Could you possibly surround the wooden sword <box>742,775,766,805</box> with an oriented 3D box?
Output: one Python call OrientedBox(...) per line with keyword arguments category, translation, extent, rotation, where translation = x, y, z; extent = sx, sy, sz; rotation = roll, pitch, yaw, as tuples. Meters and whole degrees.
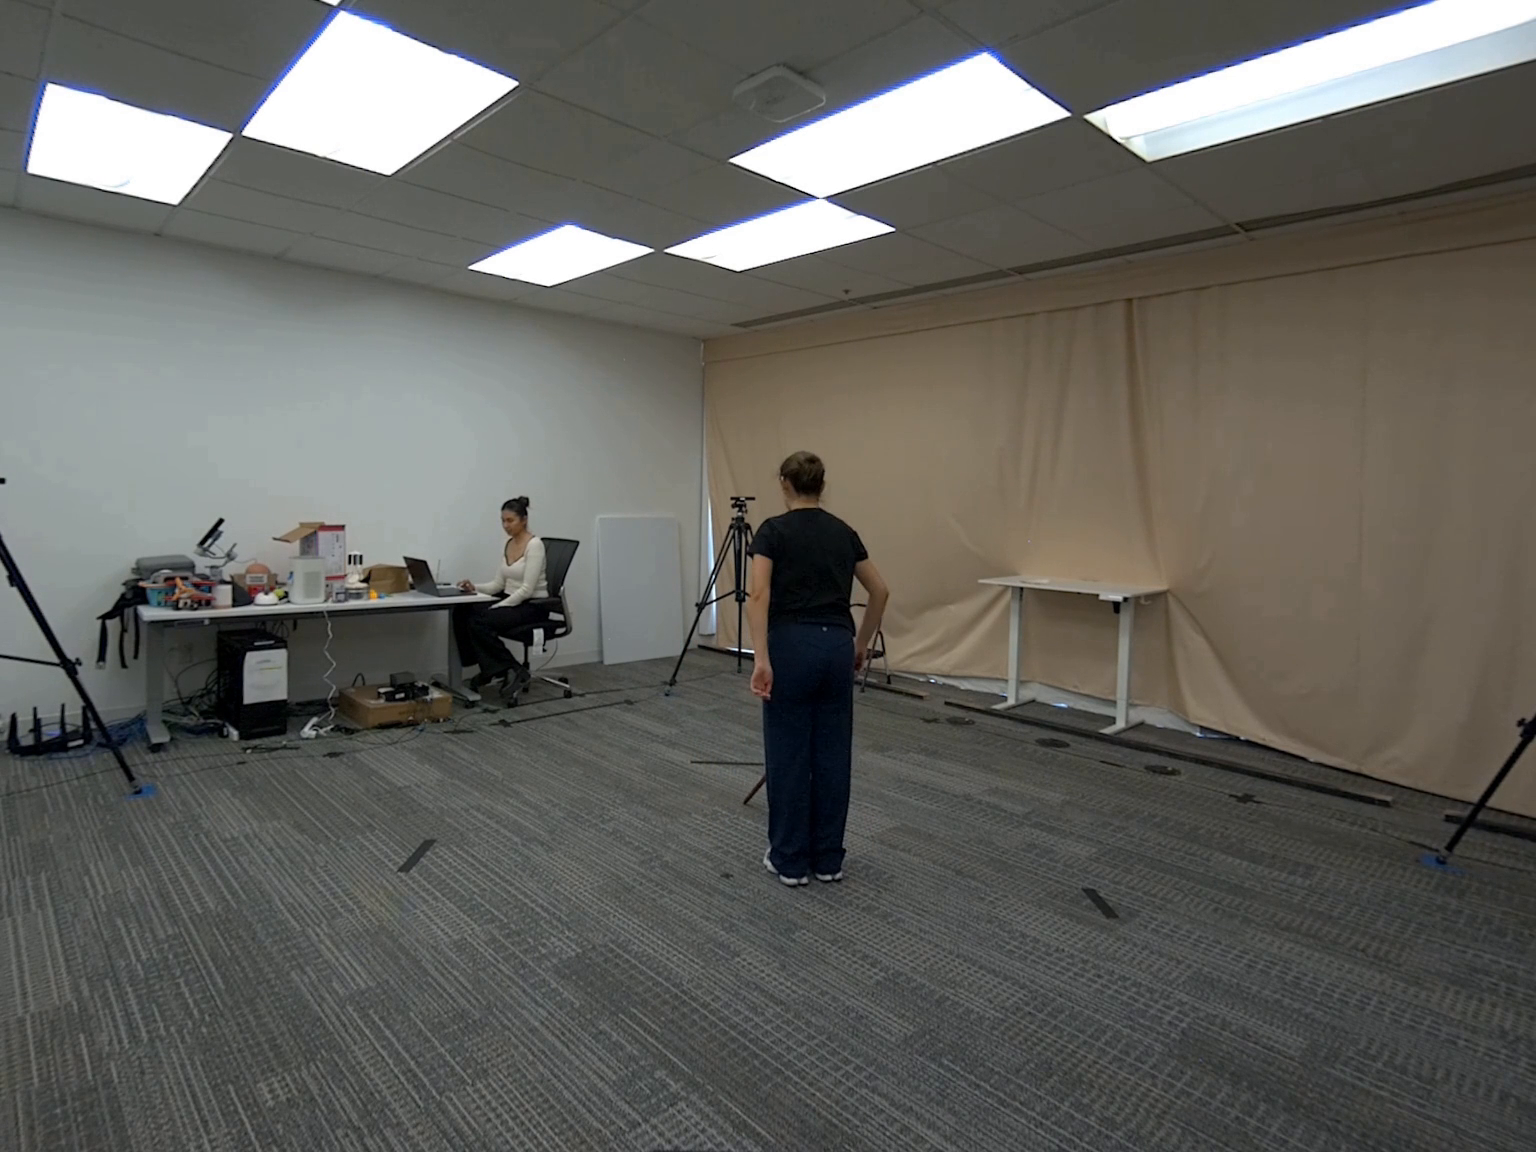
OrientedBox(category="wooden sword", translation=(0.125, 0.690, 3.559), extent=(0.050, 1.019, 0.025), rotation=(9, 42, -33))
